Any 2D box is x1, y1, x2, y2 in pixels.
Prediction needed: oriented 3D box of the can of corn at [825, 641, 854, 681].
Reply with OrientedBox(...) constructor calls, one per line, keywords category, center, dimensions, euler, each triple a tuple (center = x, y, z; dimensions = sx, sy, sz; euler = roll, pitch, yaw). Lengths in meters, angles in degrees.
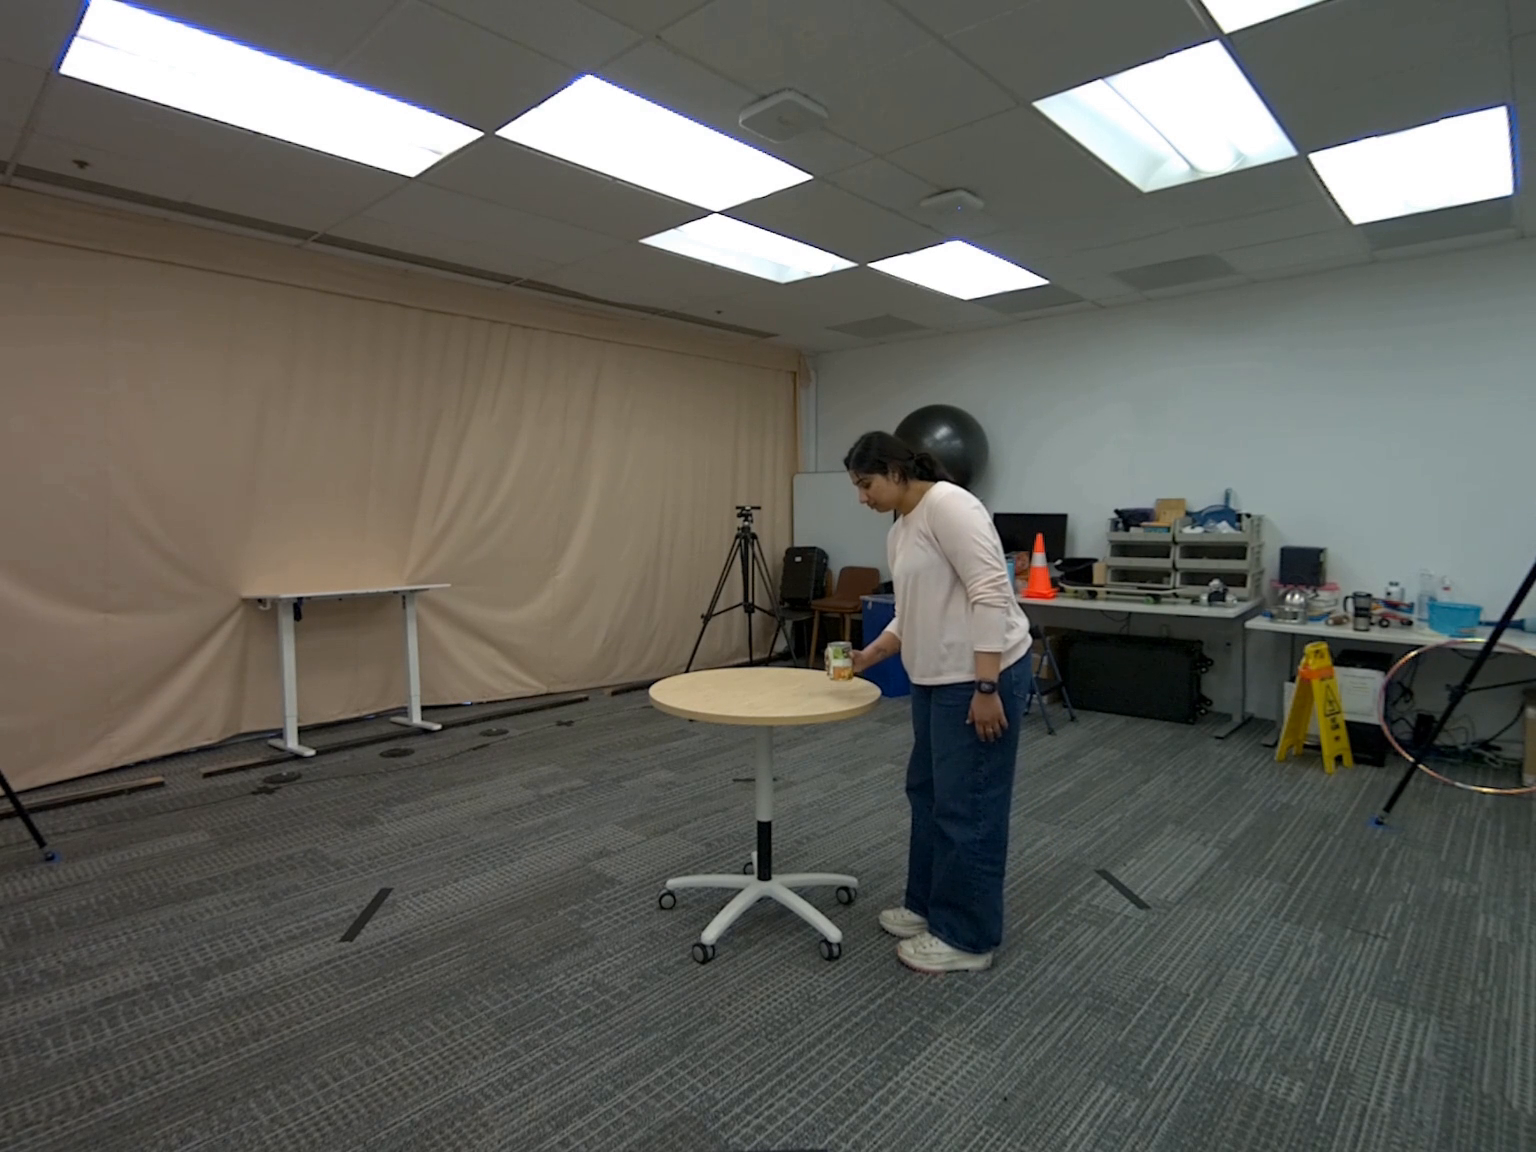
OrientedBox(category="can of corn", center=(0.232, 0.271, 2.644), dimensions=(0.074, 0.111, 0.074), euler=(0, 0, -2))
